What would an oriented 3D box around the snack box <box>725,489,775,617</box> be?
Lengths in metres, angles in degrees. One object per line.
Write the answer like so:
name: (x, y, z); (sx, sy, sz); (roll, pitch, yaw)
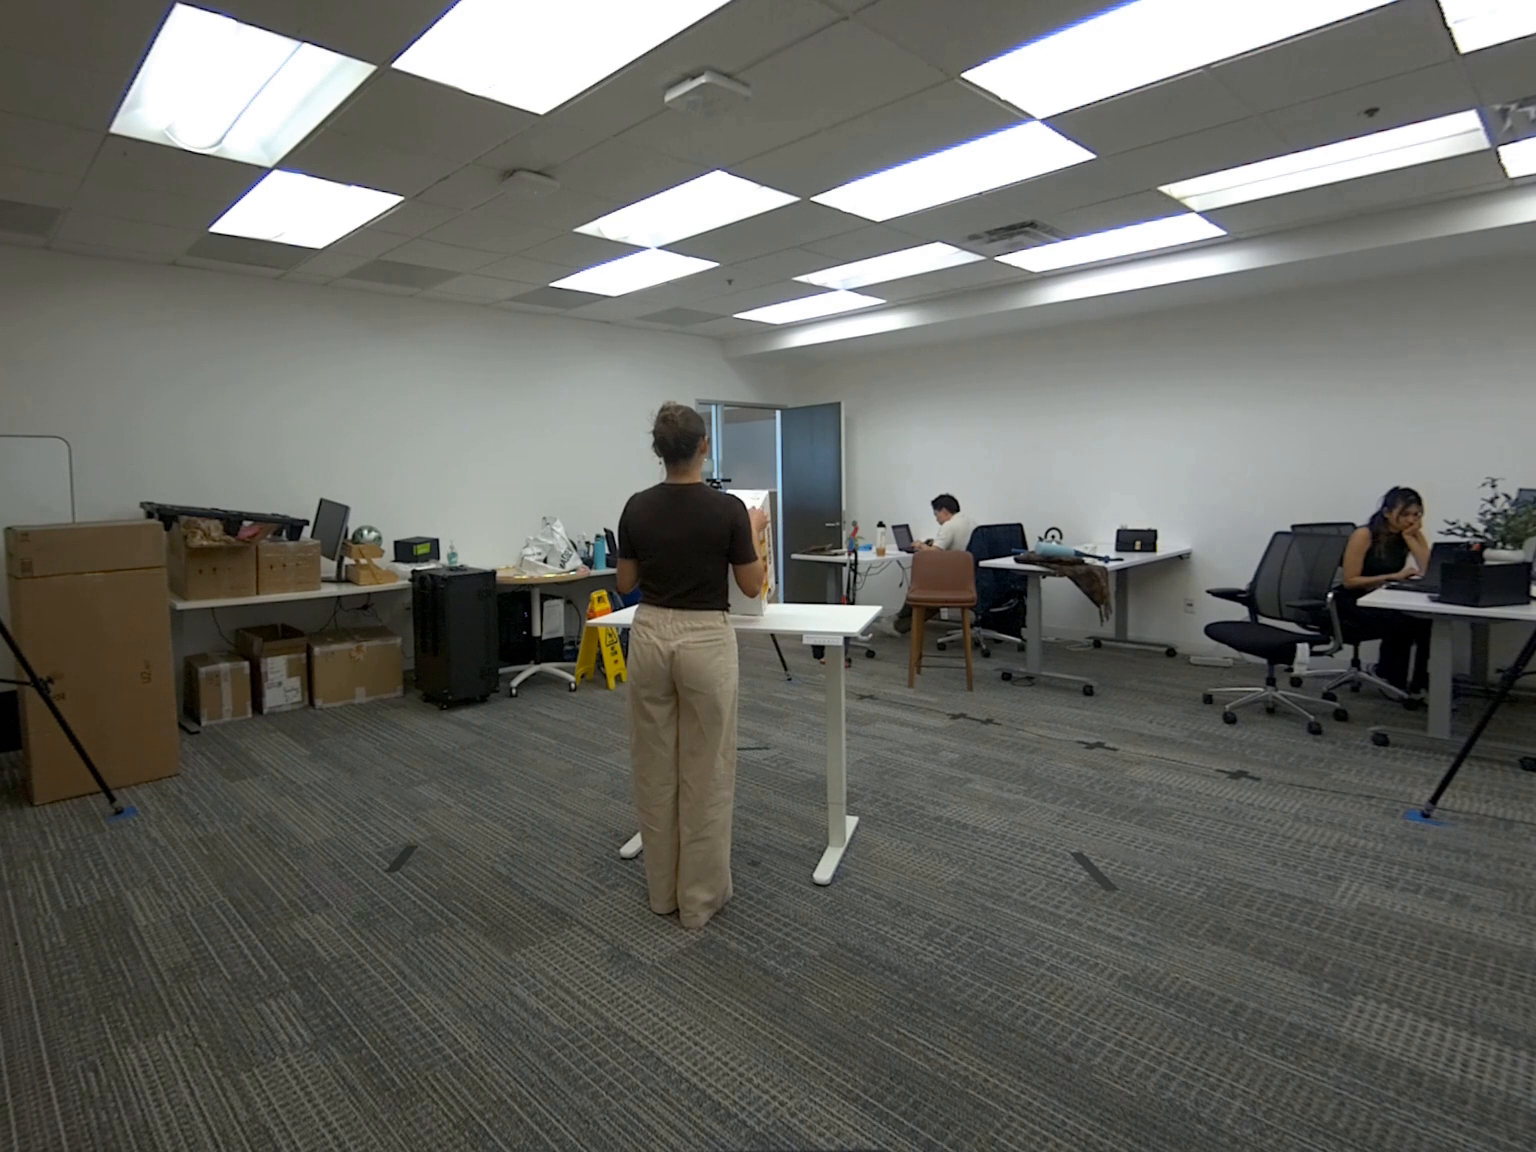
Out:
snack box: (-0.167, -0.085, 3.078); (0.345, 0.396, 0.207); (2, 27, 15)
